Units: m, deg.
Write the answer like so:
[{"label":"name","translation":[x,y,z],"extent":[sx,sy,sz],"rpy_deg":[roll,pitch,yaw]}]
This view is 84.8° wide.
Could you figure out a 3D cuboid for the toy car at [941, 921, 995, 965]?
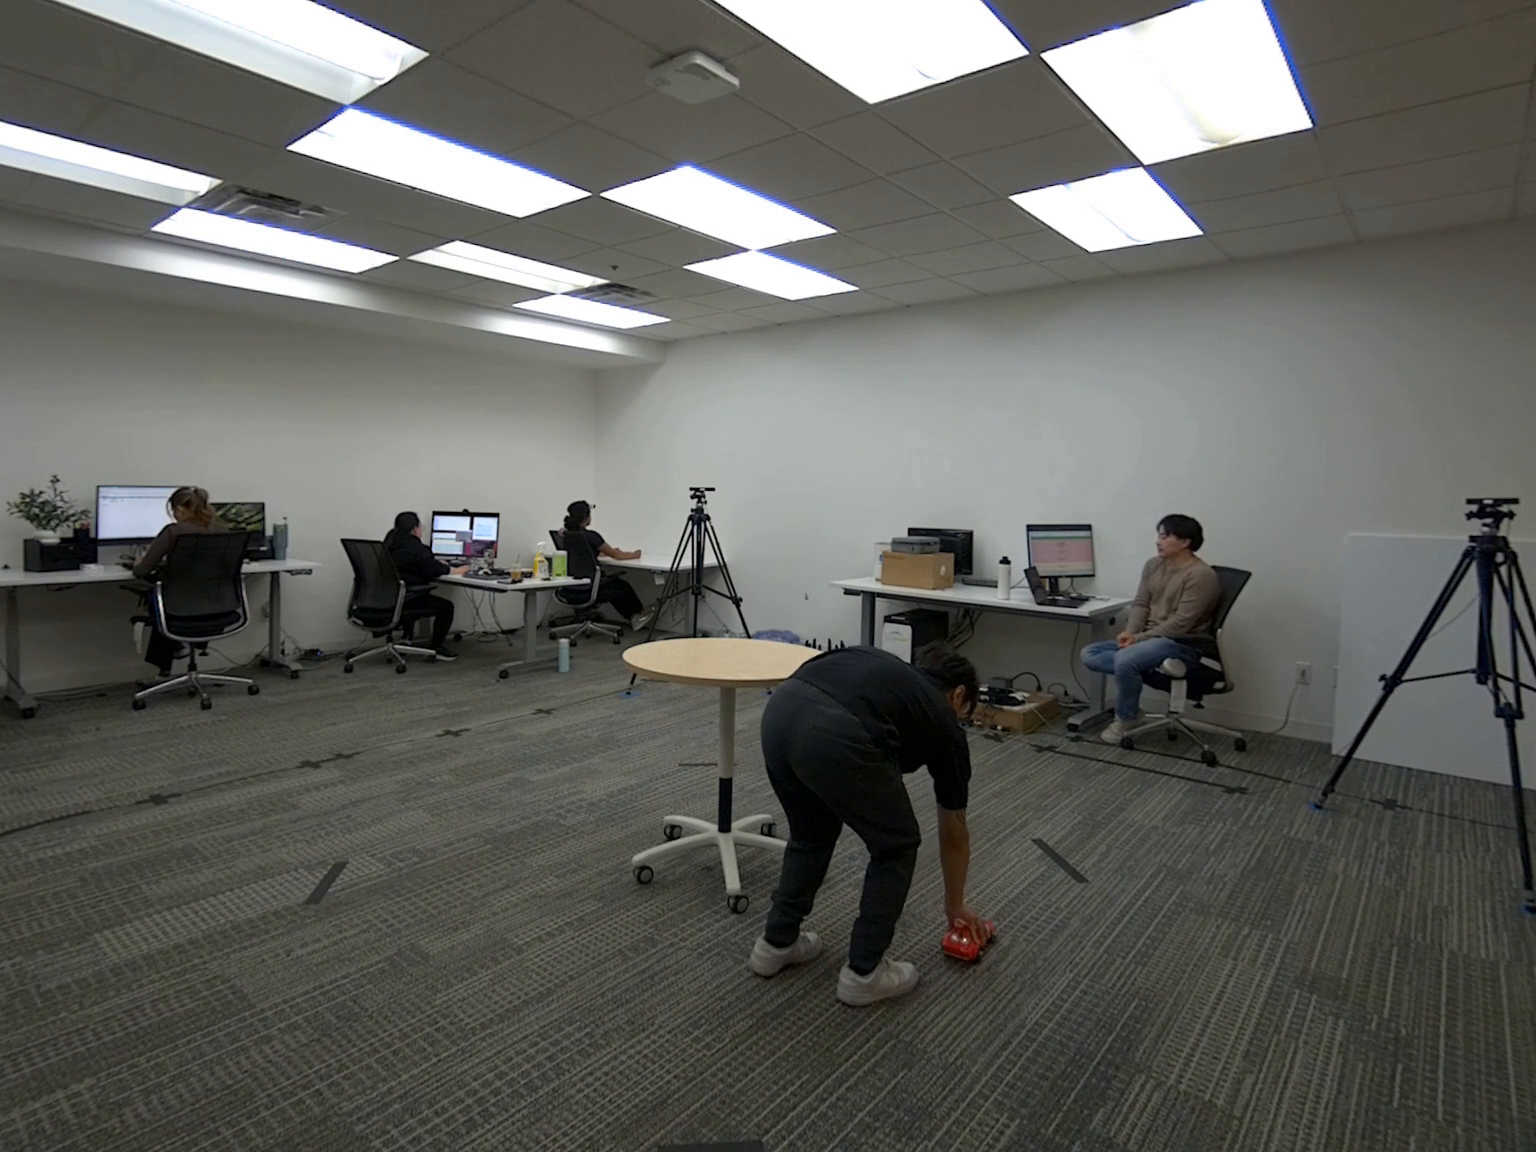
[{"label":"toy car","translation":[0.599,1.106,2.600],"extent":[0.134,0.083,0.246],"rpy_deg":[4,-5,32]}]
